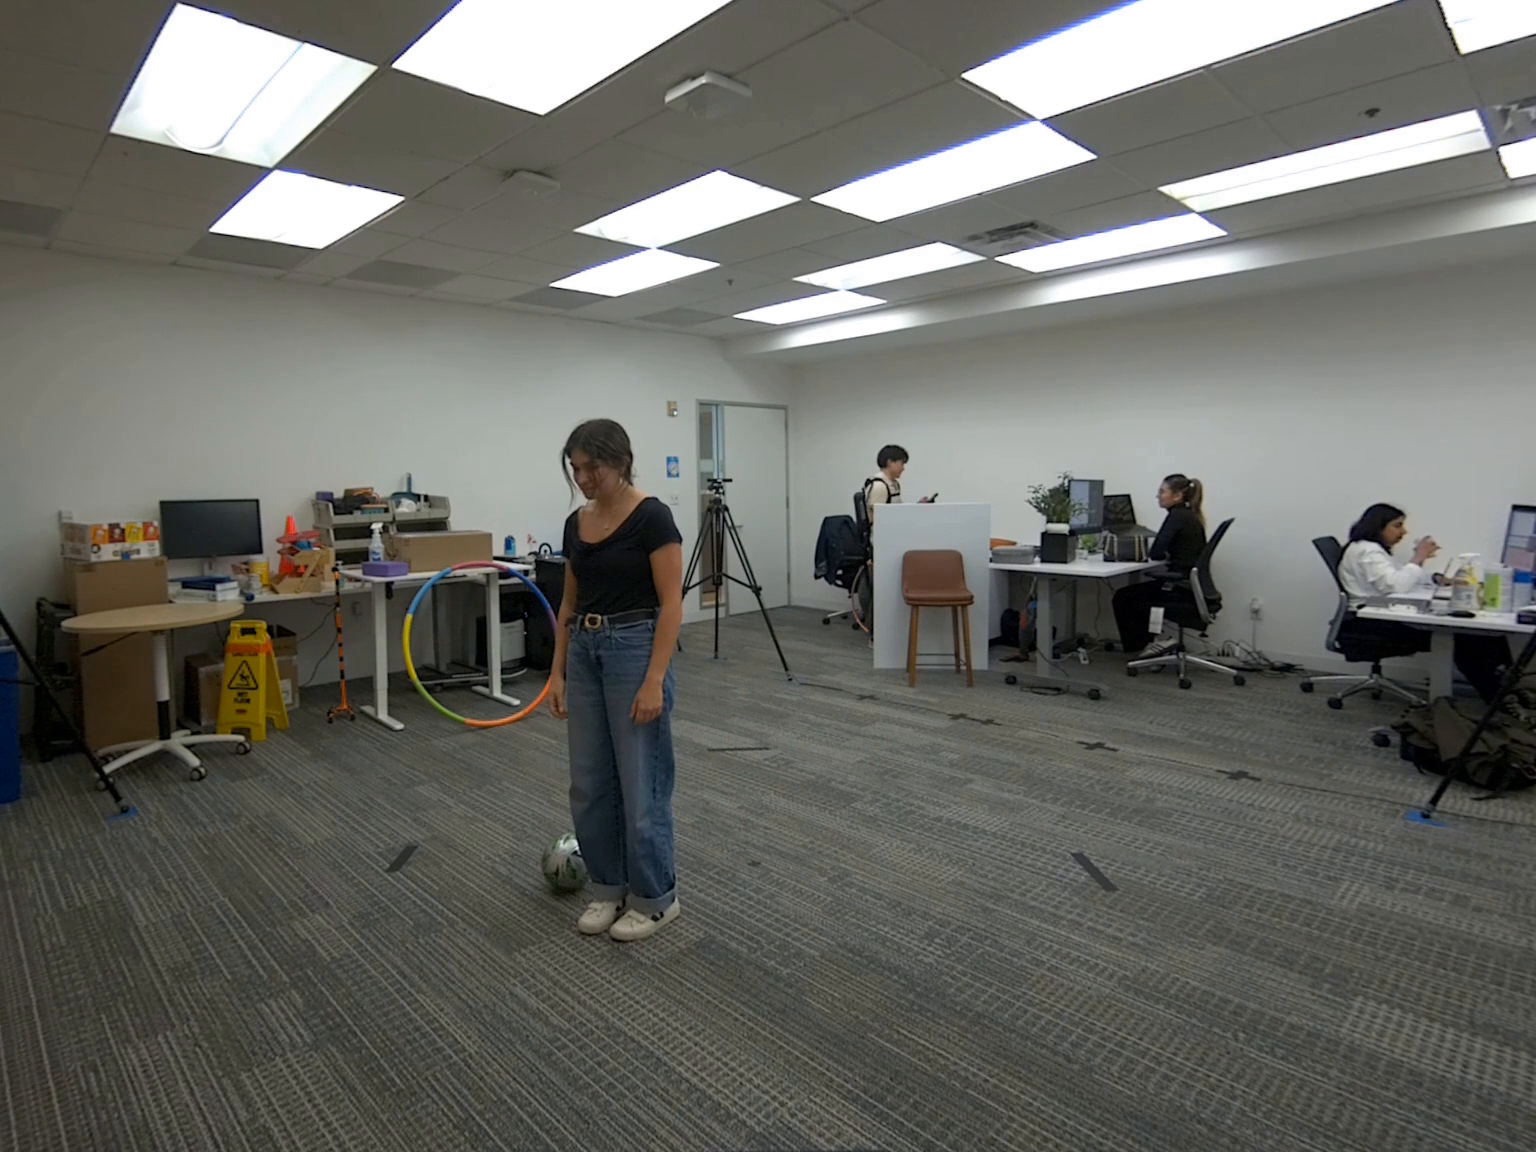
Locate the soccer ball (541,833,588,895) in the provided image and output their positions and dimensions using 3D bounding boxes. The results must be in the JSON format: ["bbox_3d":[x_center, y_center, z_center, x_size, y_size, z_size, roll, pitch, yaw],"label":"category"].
[{"bbox_3d":[-0.675,0.987,2.945,0.187,0.187,0.188,-1,5,-2],"label":"soccer ball"}]
